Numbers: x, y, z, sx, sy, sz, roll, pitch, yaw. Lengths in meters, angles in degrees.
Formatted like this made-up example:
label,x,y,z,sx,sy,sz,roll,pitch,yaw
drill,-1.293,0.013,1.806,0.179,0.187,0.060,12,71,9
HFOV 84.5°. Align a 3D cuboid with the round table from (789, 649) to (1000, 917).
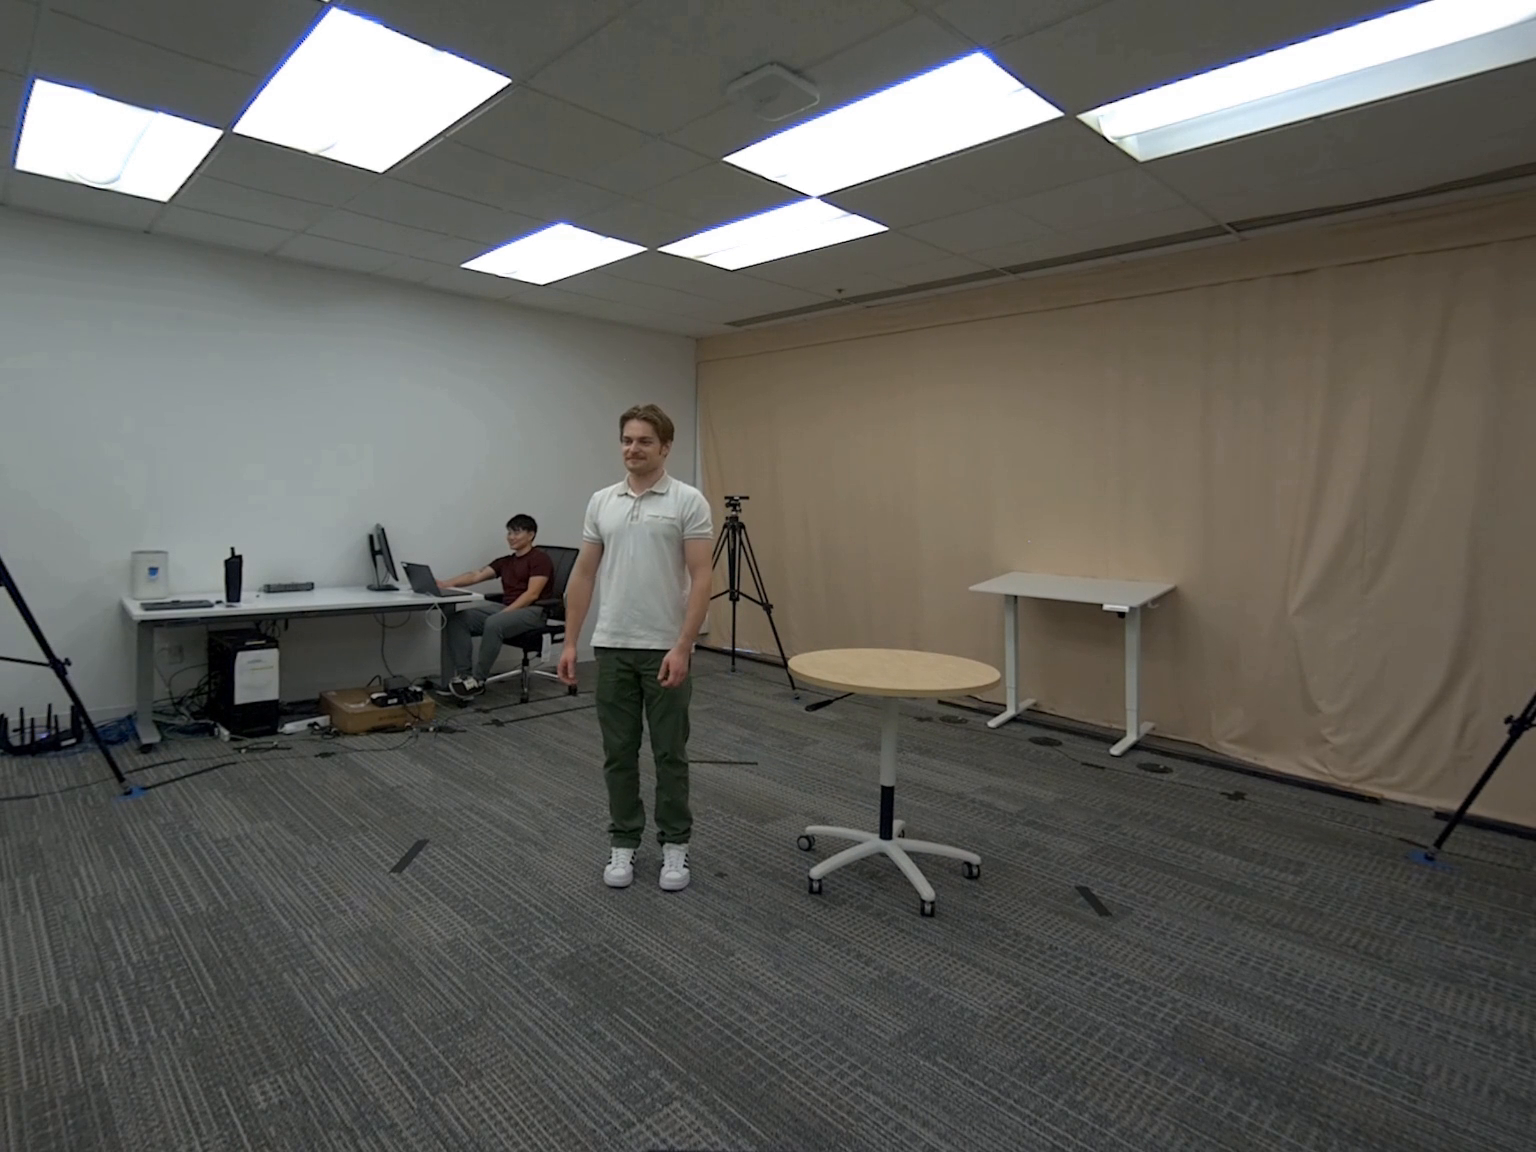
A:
label,x,y,z,sx,sy,sz,roll,pitch,yaw
round table,0.432,0.728,3.117,0.763,0.792,0.766,2,4,-1
